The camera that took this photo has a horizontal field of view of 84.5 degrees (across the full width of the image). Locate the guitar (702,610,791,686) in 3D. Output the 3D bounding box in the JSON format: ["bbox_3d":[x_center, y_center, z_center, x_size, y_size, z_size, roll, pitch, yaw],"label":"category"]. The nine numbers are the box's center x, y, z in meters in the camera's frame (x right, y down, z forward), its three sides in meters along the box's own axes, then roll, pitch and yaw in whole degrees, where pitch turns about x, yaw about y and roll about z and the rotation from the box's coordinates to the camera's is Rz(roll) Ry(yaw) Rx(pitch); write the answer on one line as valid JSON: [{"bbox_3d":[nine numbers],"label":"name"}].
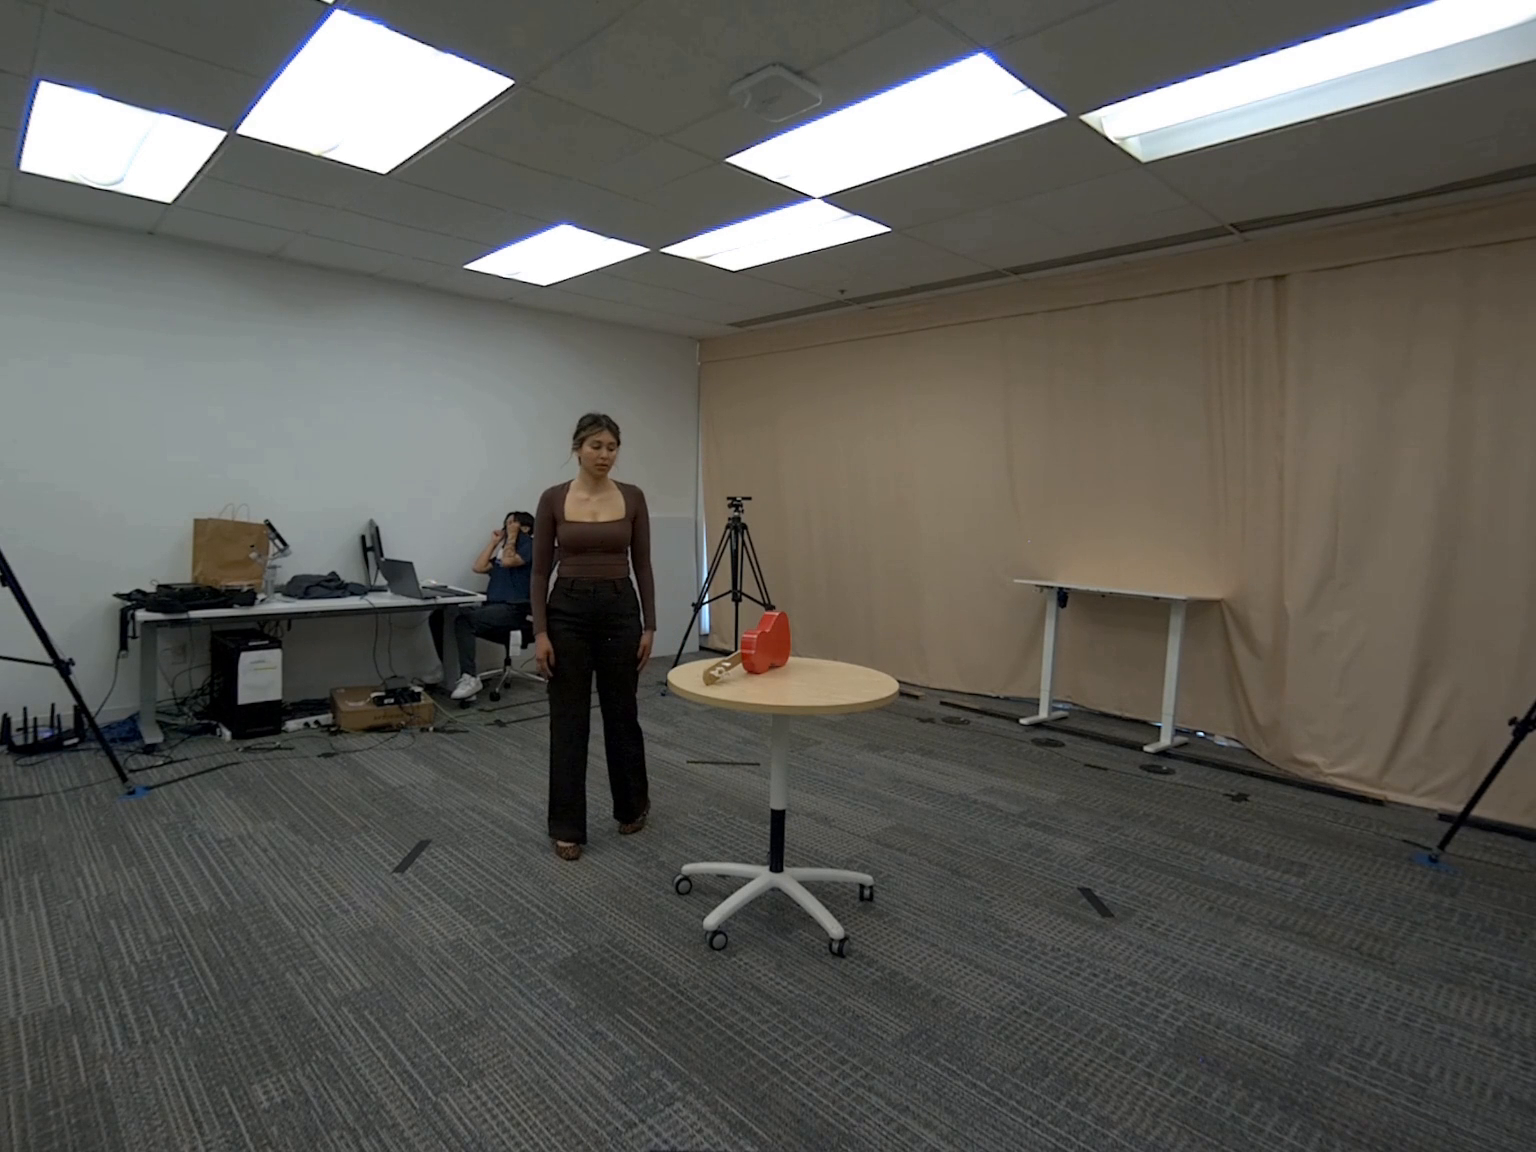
[{"bbox_3d":[-0.061,0.294,2.847,0.072,0.190,0.495,5,25,27],"label":"guitar"}]
